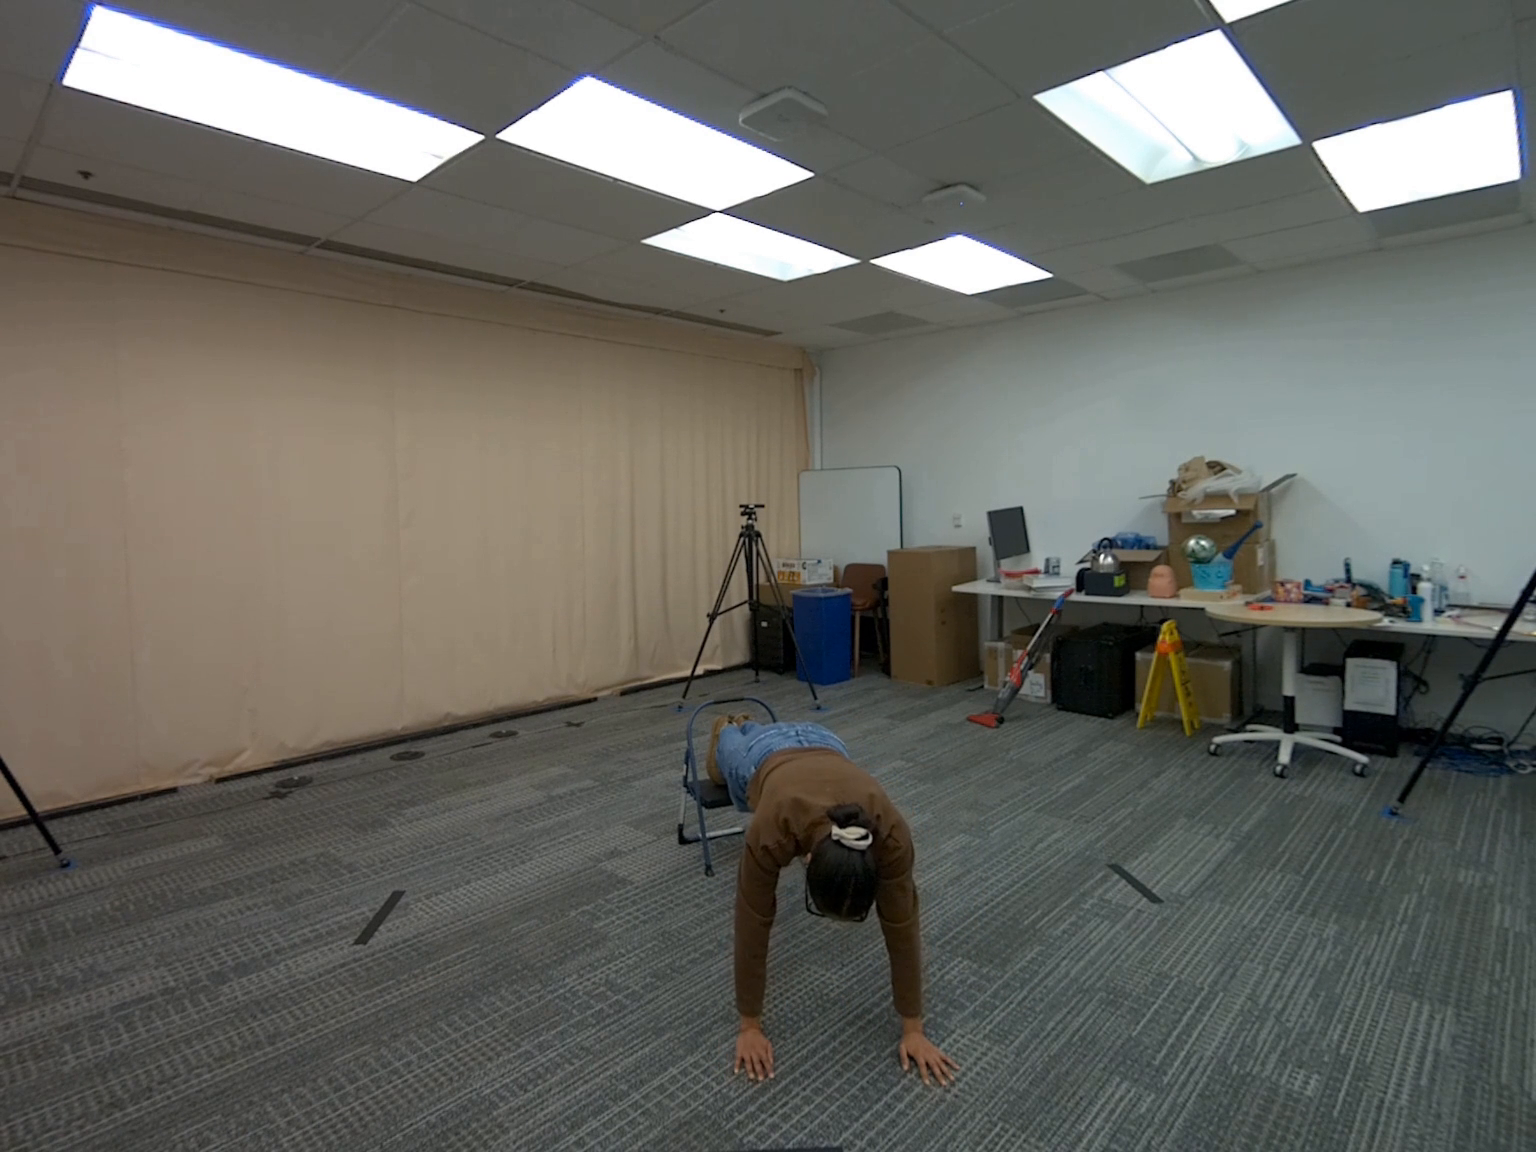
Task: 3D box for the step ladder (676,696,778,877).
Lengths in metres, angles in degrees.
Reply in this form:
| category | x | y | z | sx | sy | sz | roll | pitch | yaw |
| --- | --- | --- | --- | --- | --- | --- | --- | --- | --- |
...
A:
| category | x | y | z | sx | sy | sz | roll | pitch | yaw |
| --- | --- | --- | --- | --- | --- | --- | --- | --- | --- |
| step ladder | -0.117 | 0.807 | 3.388 | 0.420 | 0.605 | 0.358 | -3 | 4 | -25 |
